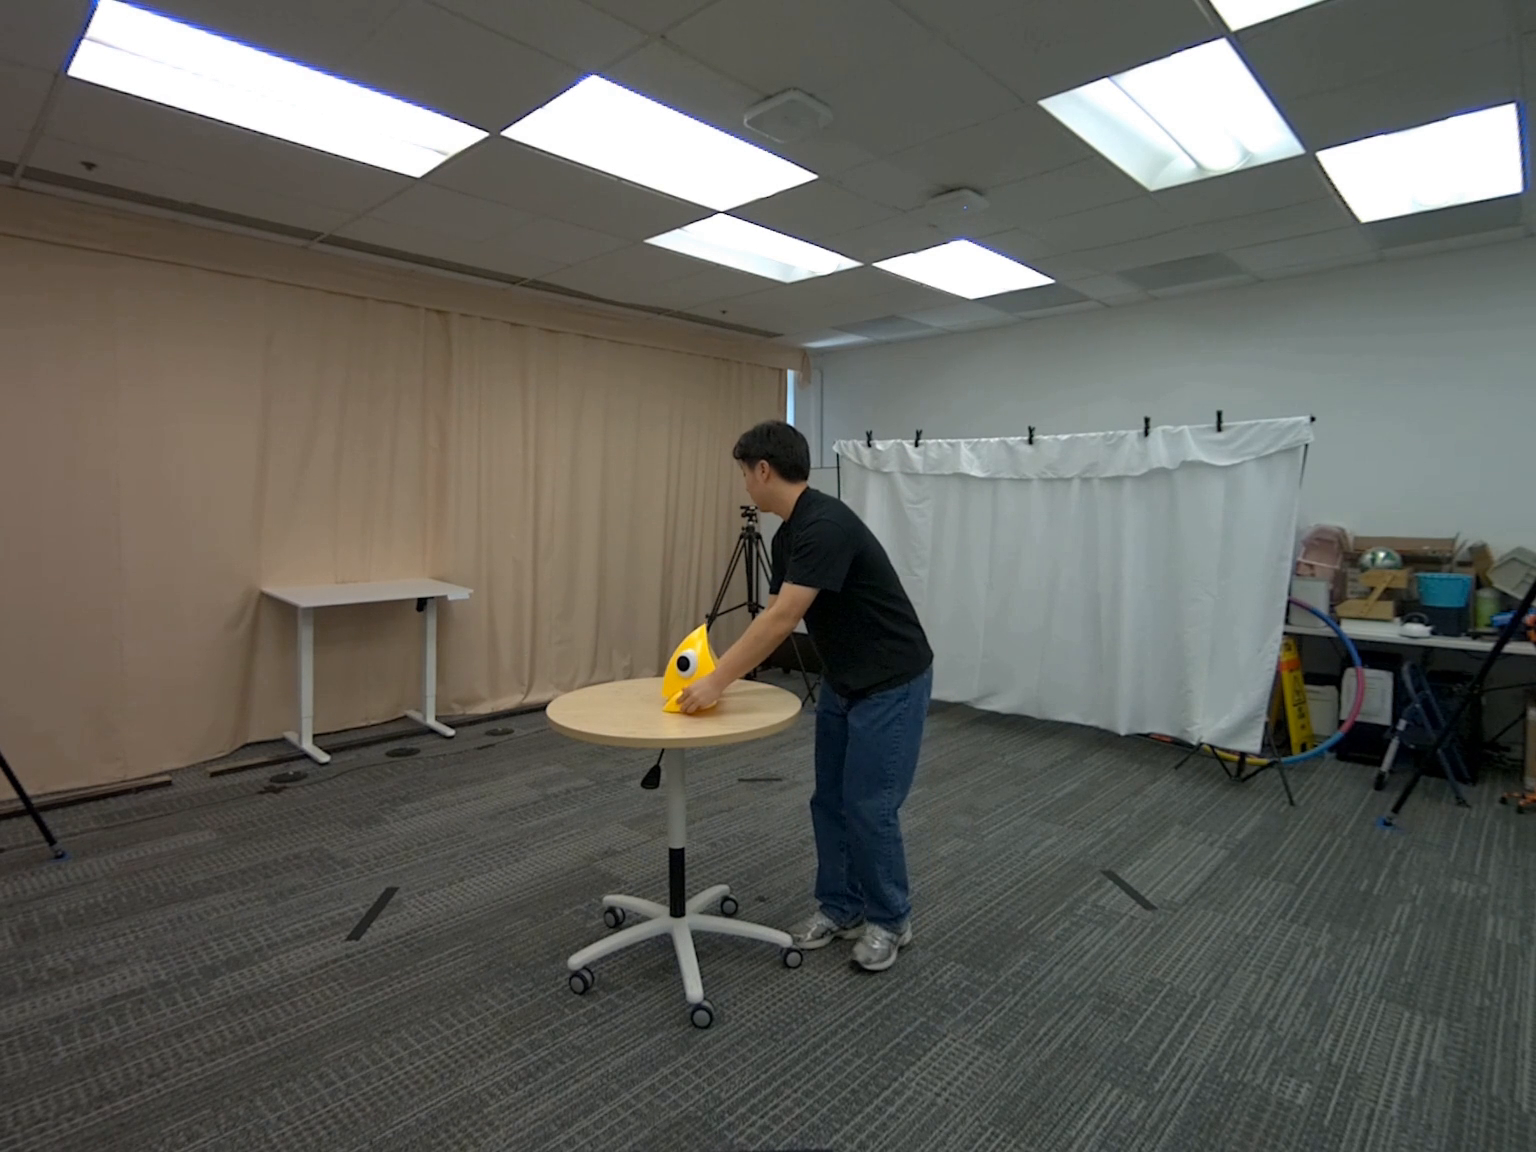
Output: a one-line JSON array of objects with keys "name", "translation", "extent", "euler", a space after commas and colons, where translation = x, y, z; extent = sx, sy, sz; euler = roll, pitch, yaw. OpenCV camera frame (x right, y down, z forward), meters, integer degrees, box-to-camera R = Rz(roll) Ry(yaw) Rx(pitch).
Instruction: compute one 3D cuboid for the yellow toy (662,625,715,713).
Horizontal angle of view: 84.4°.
[{"name": "yellow toy", "translation": [-0.228, 0.267, 2.517], "extent": [0.193, 0.230, 0.205], "euler": [-6, 3, 0]}]
